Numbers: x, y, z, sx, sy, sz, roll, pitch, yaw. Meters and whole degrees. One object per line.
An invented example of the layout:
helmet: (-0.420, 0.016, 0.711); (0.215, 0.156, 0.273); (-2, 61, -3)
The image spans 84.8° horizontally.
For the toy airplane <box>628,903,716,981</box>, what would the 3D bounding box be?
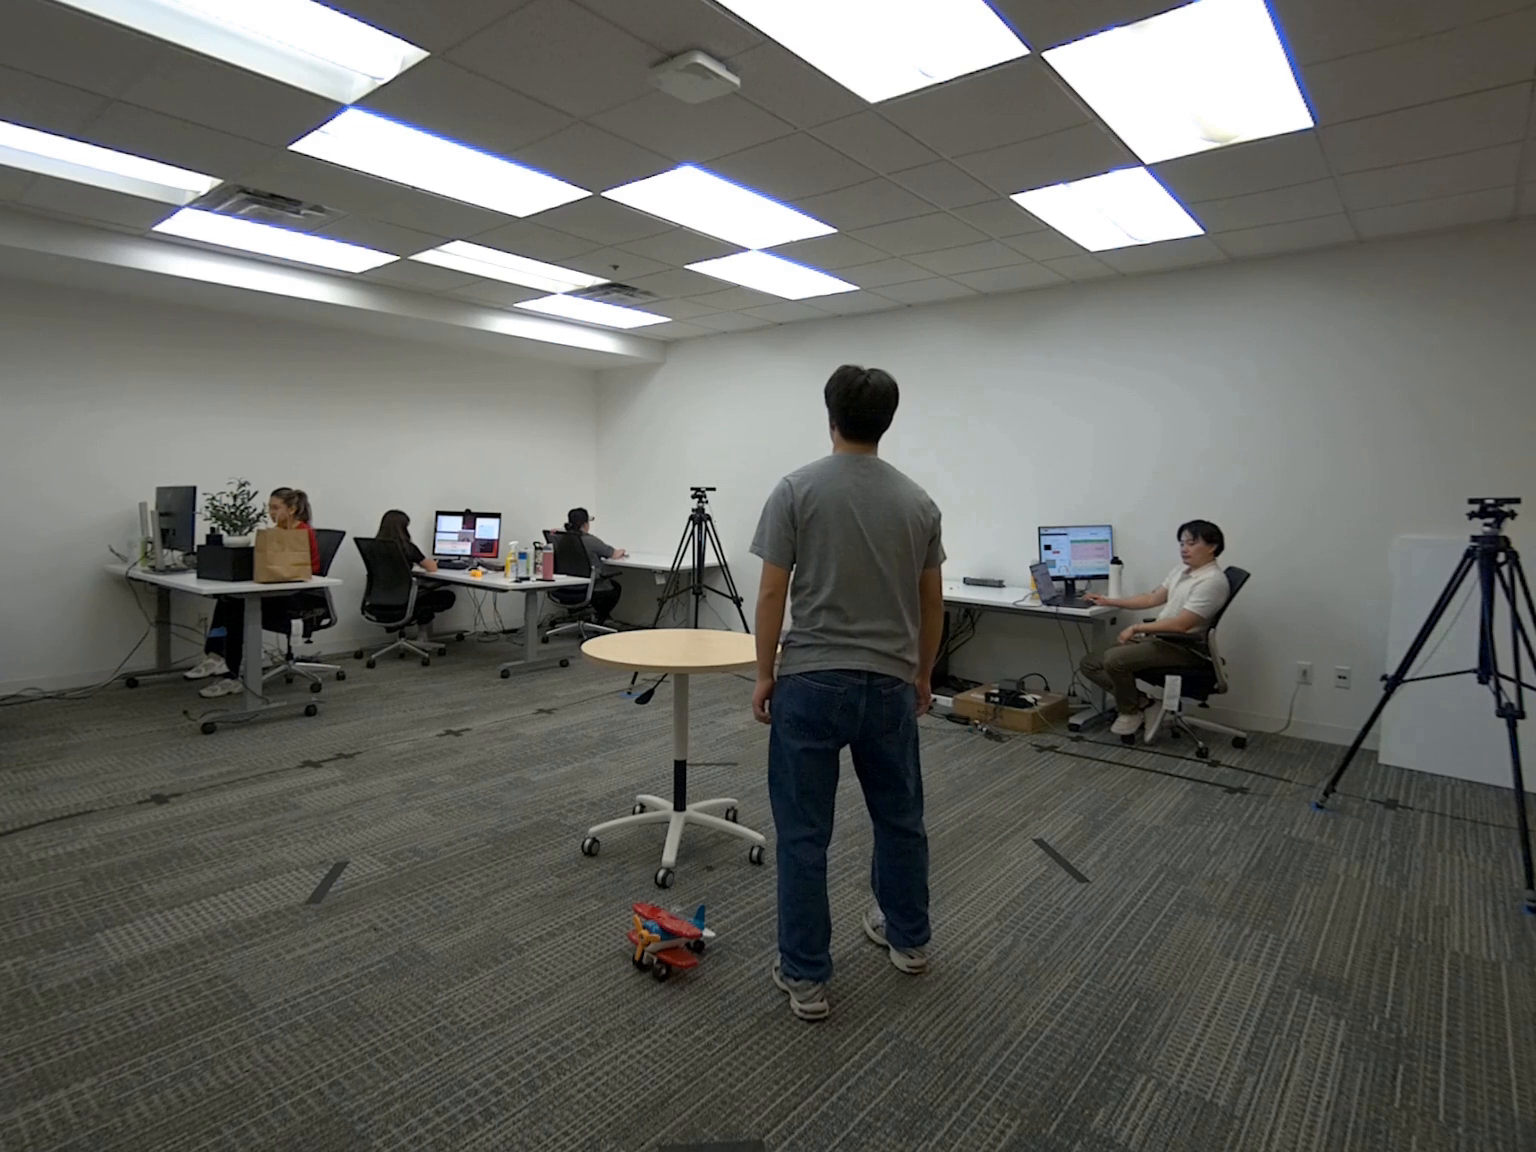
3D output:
toy airplane: (-0.302, 1.050, 2.498); (0.255, 0.156, 0.256); (3, 6, 13)
